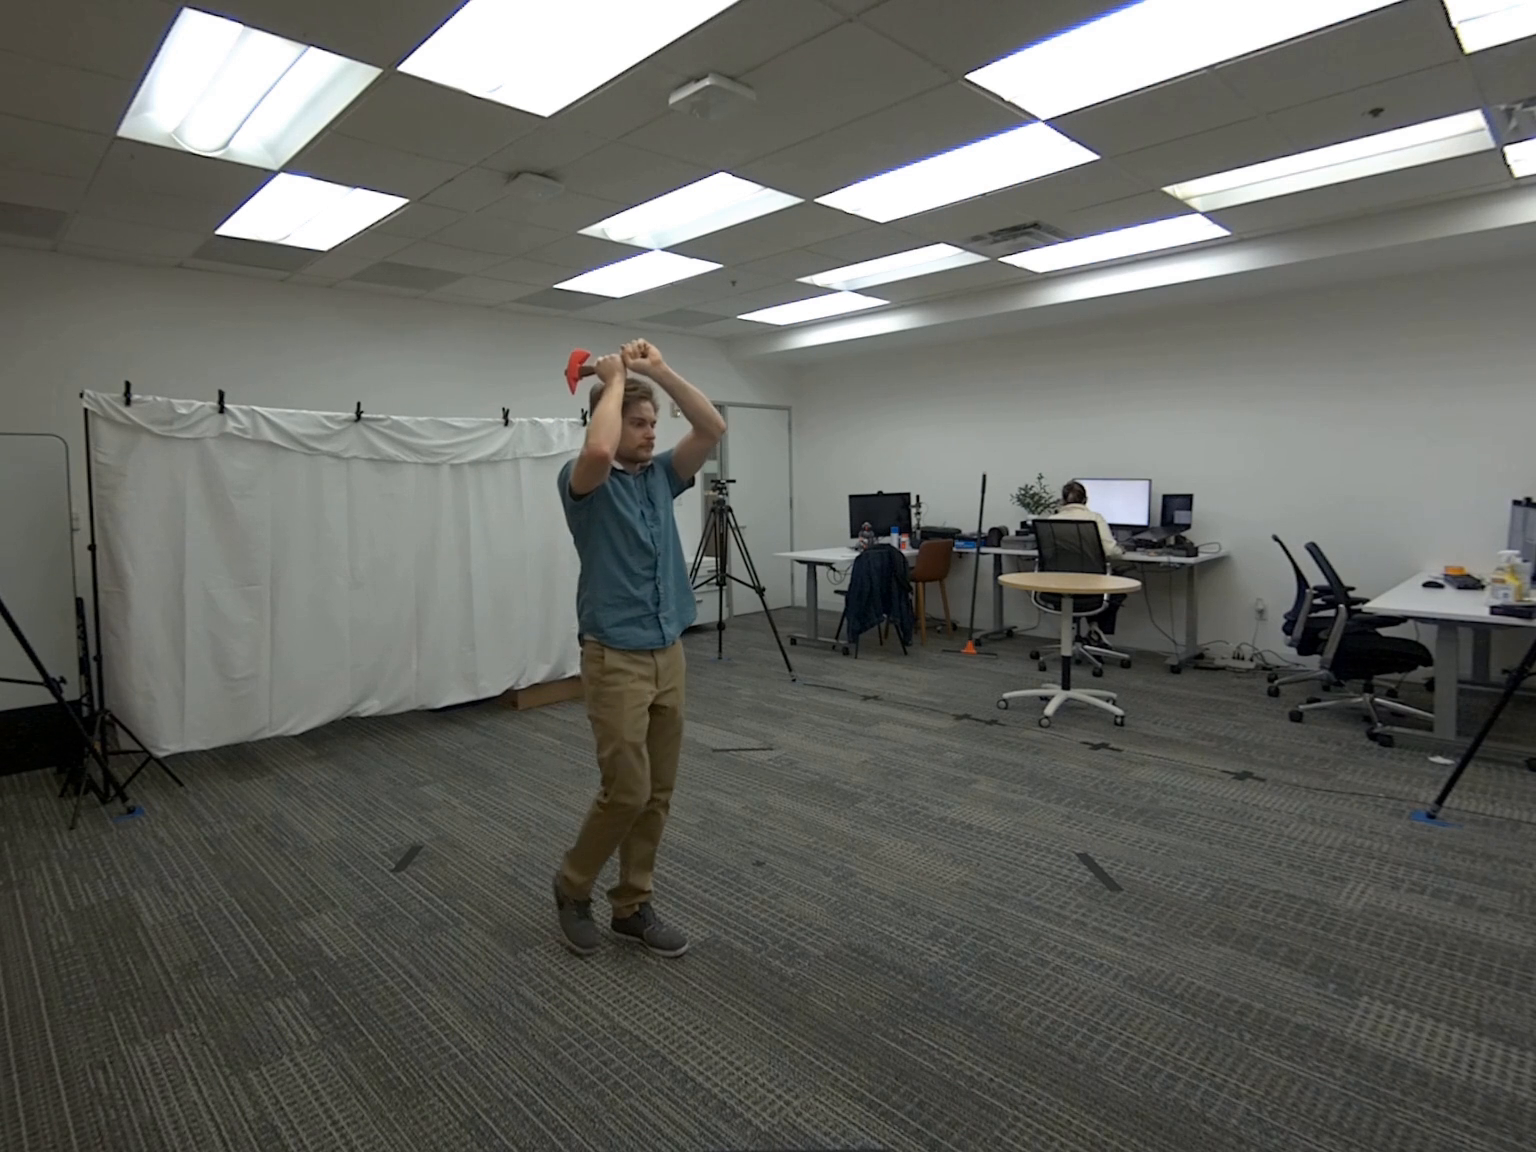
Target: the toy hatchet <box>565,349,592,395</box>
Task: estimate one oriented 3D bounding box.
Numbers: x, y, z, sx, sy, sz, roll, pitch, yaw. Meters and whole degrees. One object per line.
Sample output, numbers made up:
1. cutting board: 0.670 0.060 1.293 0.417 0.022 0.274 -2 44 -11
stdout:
1. toy hatchet: -0.471 -0.636 2.467 0.273 0.133 0.029 -21 -14 18
